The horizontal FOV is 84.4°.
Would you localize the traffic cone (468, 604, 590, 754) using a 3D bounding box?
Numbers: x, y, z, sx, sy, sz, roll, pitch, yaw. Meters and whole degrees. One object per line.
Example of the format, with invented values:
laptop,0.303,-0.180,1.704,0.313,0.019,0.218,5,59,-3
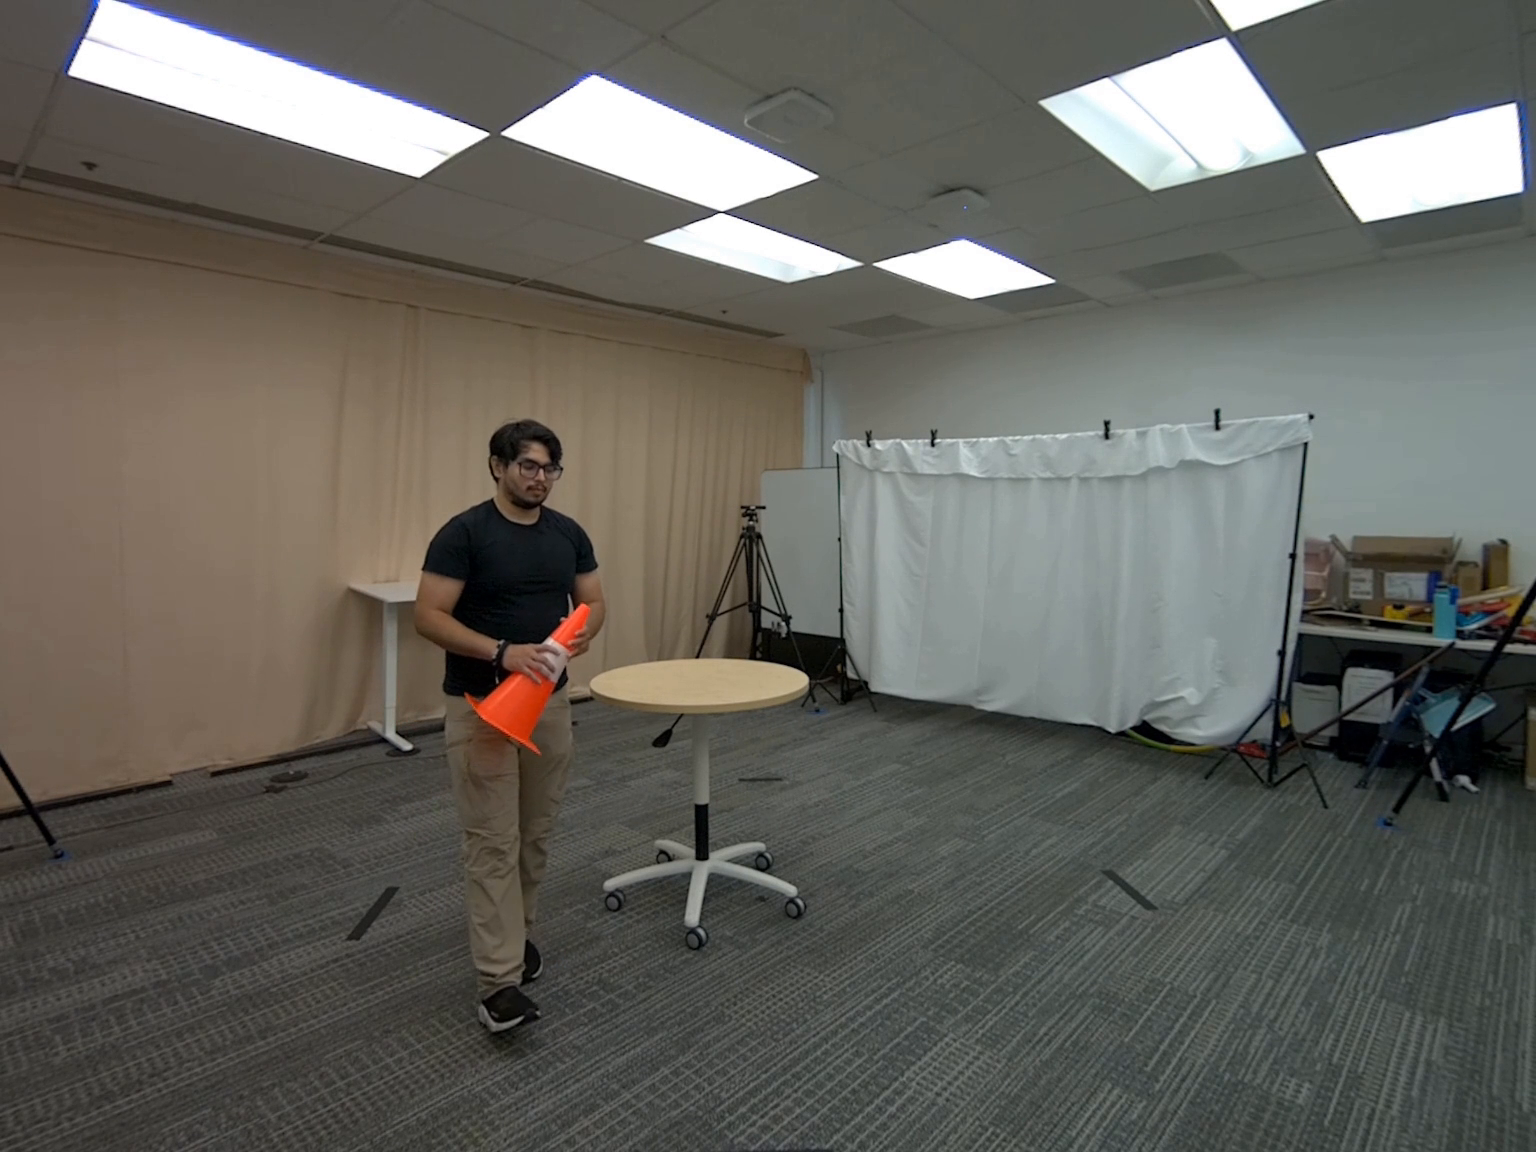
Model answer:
traffic cone,-0.606,0.241,2.246,0.197,0.383,0.212,38,-10,-32
